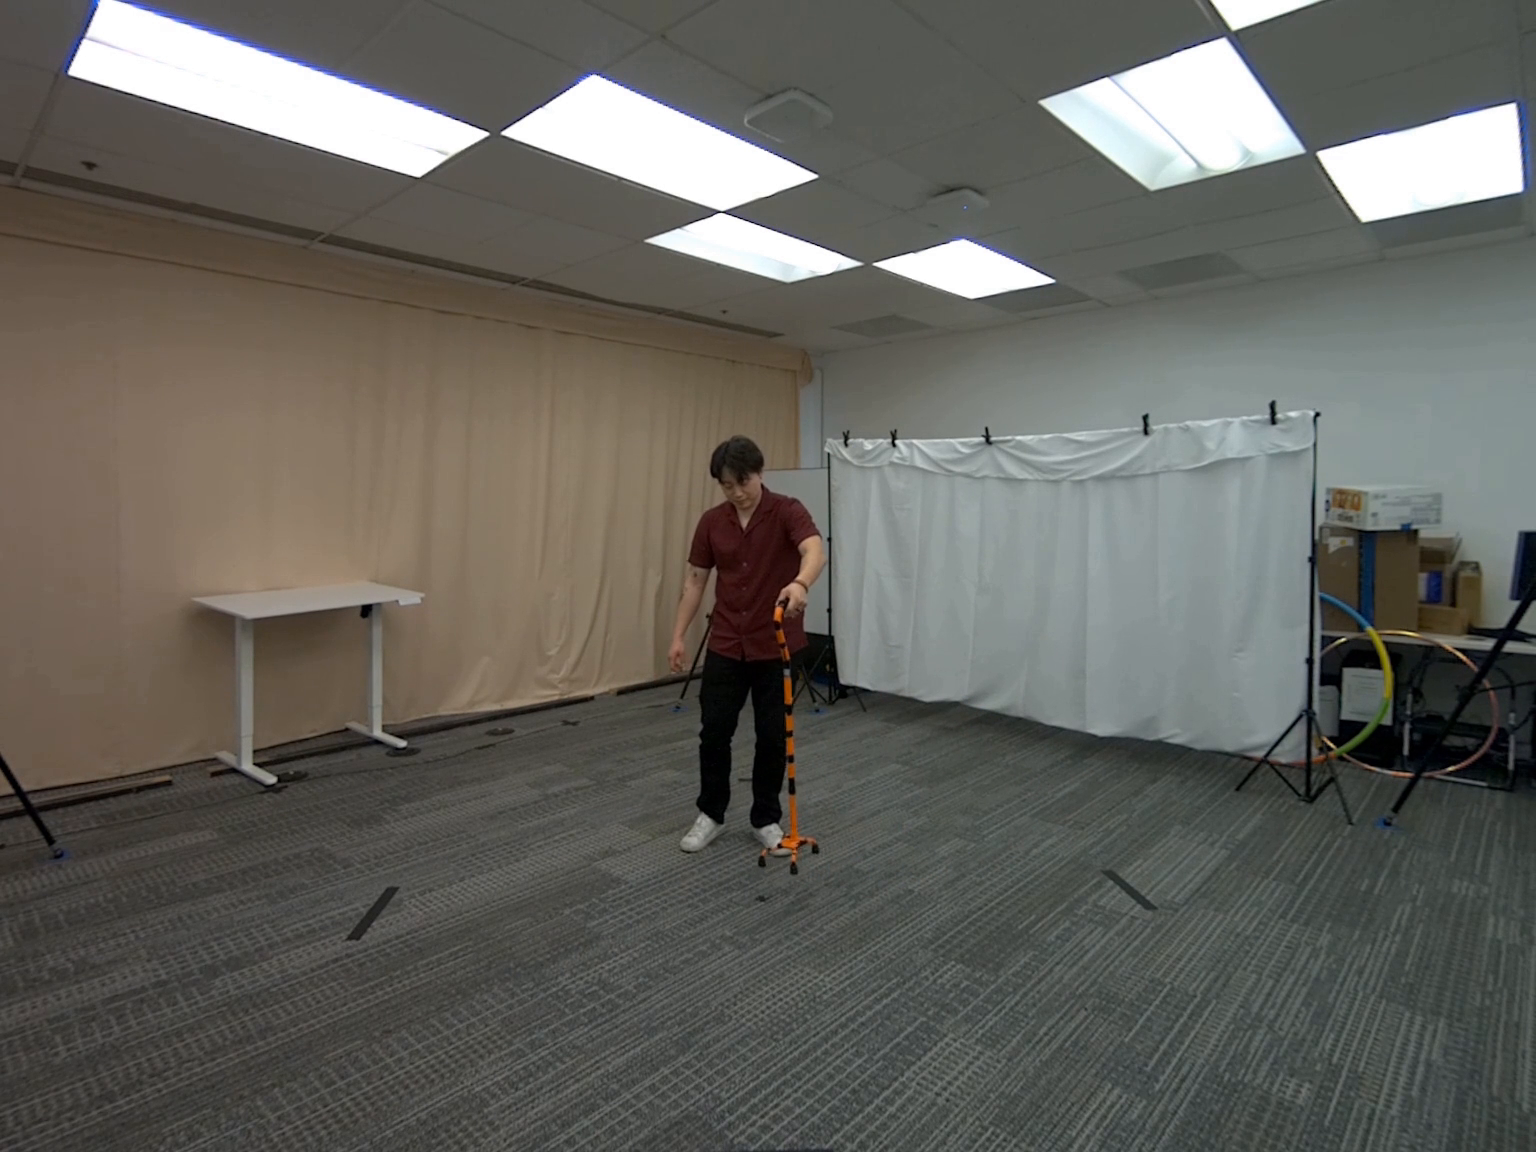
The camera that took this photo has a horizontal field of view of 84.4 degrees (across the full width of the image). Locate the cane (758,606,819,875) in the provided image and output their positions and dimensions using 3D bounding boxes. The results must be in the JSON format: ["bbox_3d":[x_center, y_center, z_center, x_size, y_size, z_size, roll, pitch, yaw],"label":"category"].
[{"bbox_3d":[0.060,0.546,2.909,0.156,0.905,0.201,2,5,32],"label":"cane"}]
